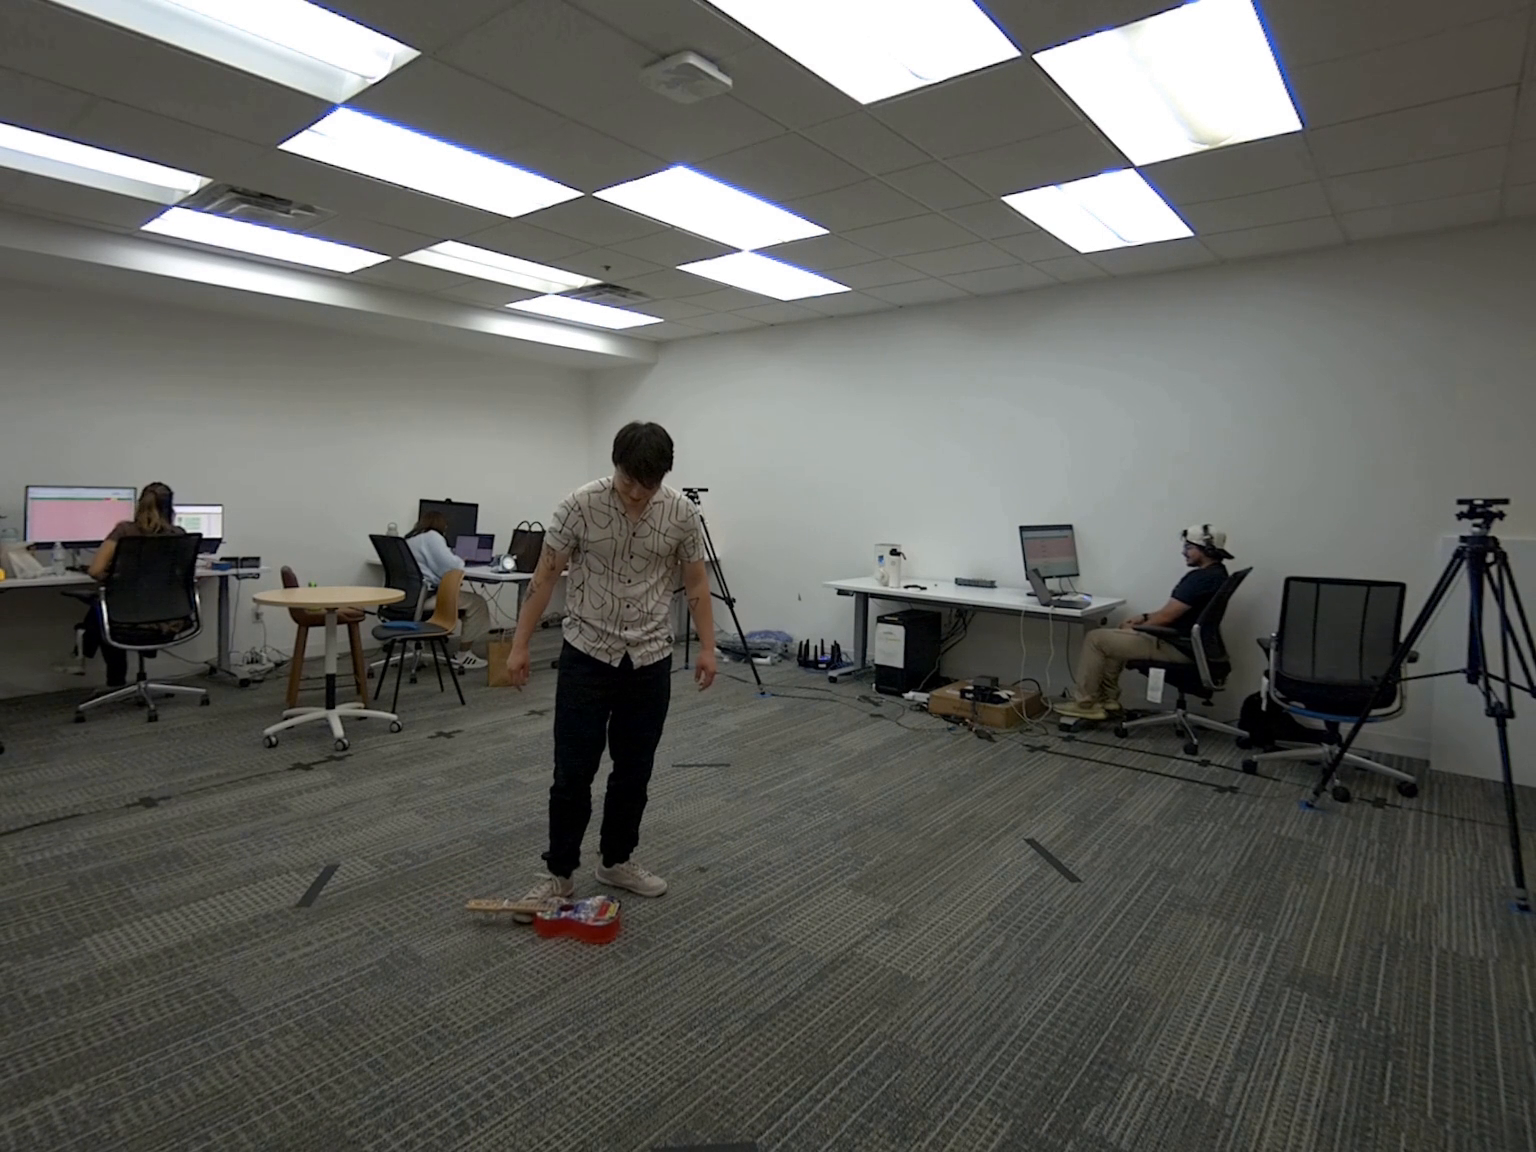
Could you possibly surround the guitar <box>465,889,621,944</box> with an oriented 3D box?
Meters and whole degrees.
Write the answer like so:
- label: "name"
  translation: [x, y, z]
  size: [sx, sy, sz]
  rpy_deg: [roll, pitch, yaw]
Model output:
- label: "guitar"
  translation: [-0.718, 1.064, 2.710]
  size: [0.504, 0.070, 0.191]
  rpy_deg: [2, 6, 12]
